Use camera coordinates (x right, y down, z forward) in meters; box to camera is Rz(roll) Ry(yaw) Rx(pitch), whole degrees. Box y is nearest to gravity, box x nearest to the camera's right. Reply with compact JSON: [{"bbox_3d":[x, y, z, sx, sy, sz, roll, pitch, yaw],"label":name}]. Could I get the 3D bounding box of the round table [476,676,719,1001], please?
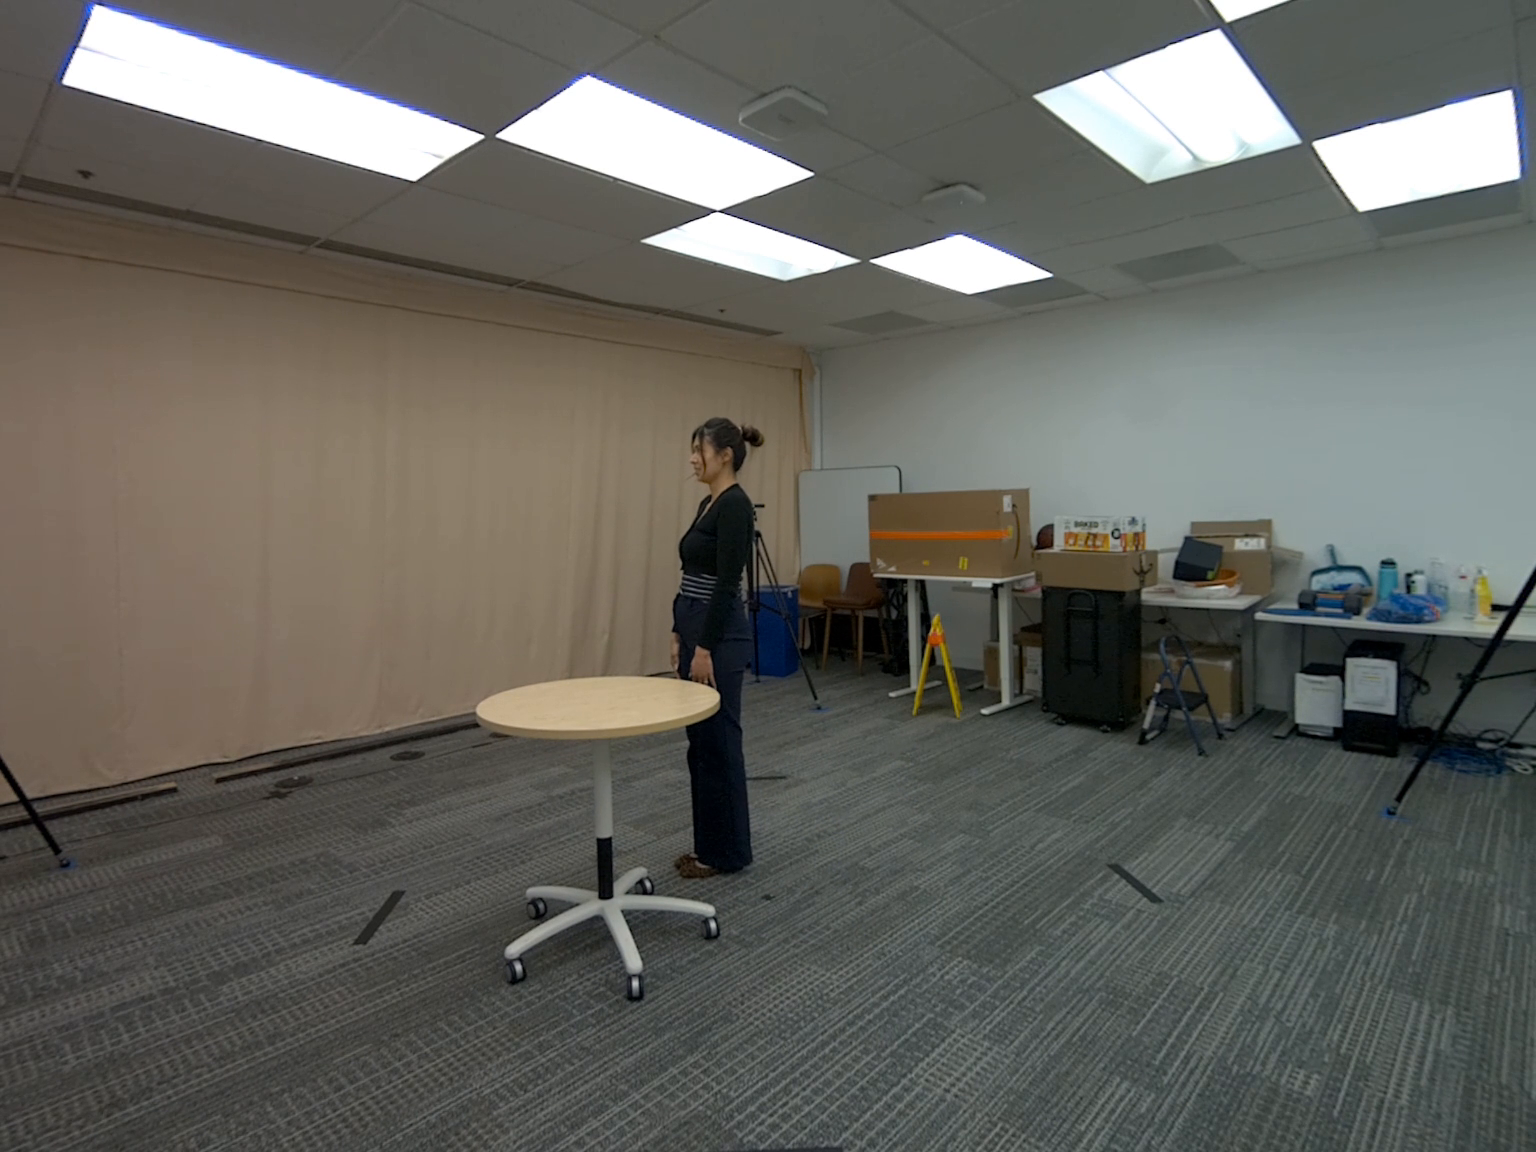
[{"bbox_3d":[-0.522,0.789,2.693,0.763,0.792,0.766,-2,3,-2],"label":"round table"}]
